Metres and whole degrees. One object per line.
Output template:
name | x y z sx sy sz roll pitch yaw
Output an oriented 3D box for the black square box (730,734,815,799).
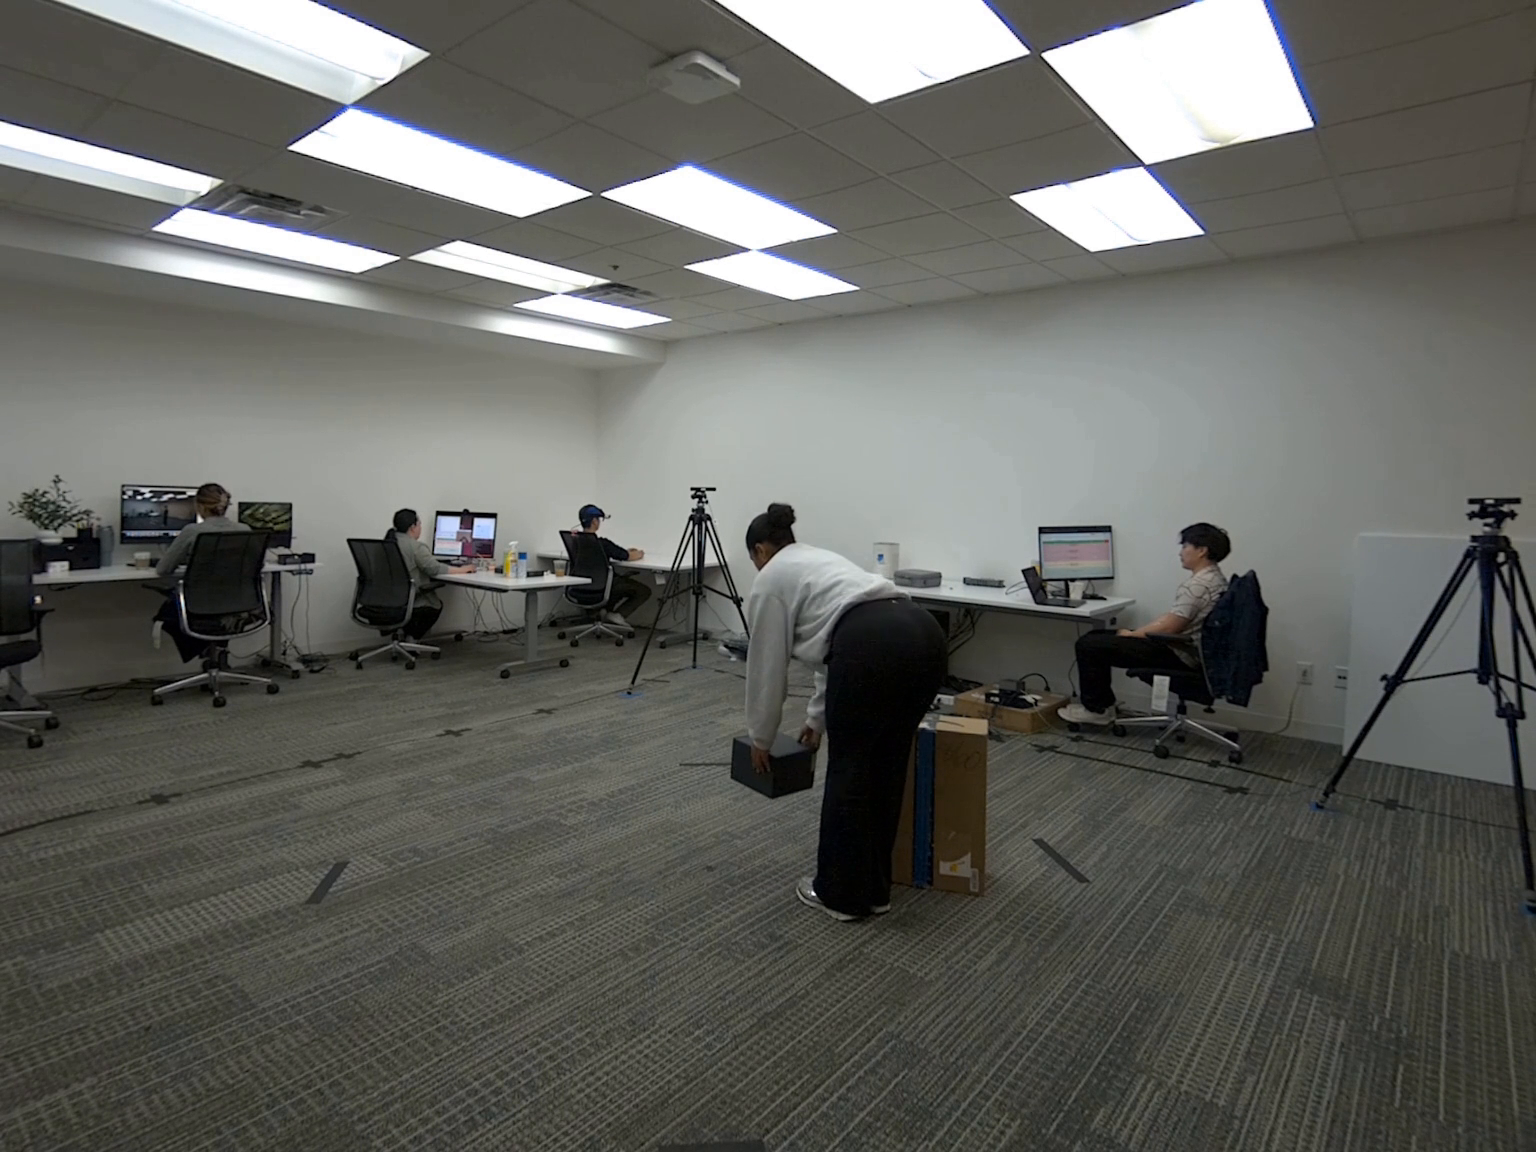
black square box | 0.011 0.688 3.139 0.210 0.155 0.236 -1 8 -42
